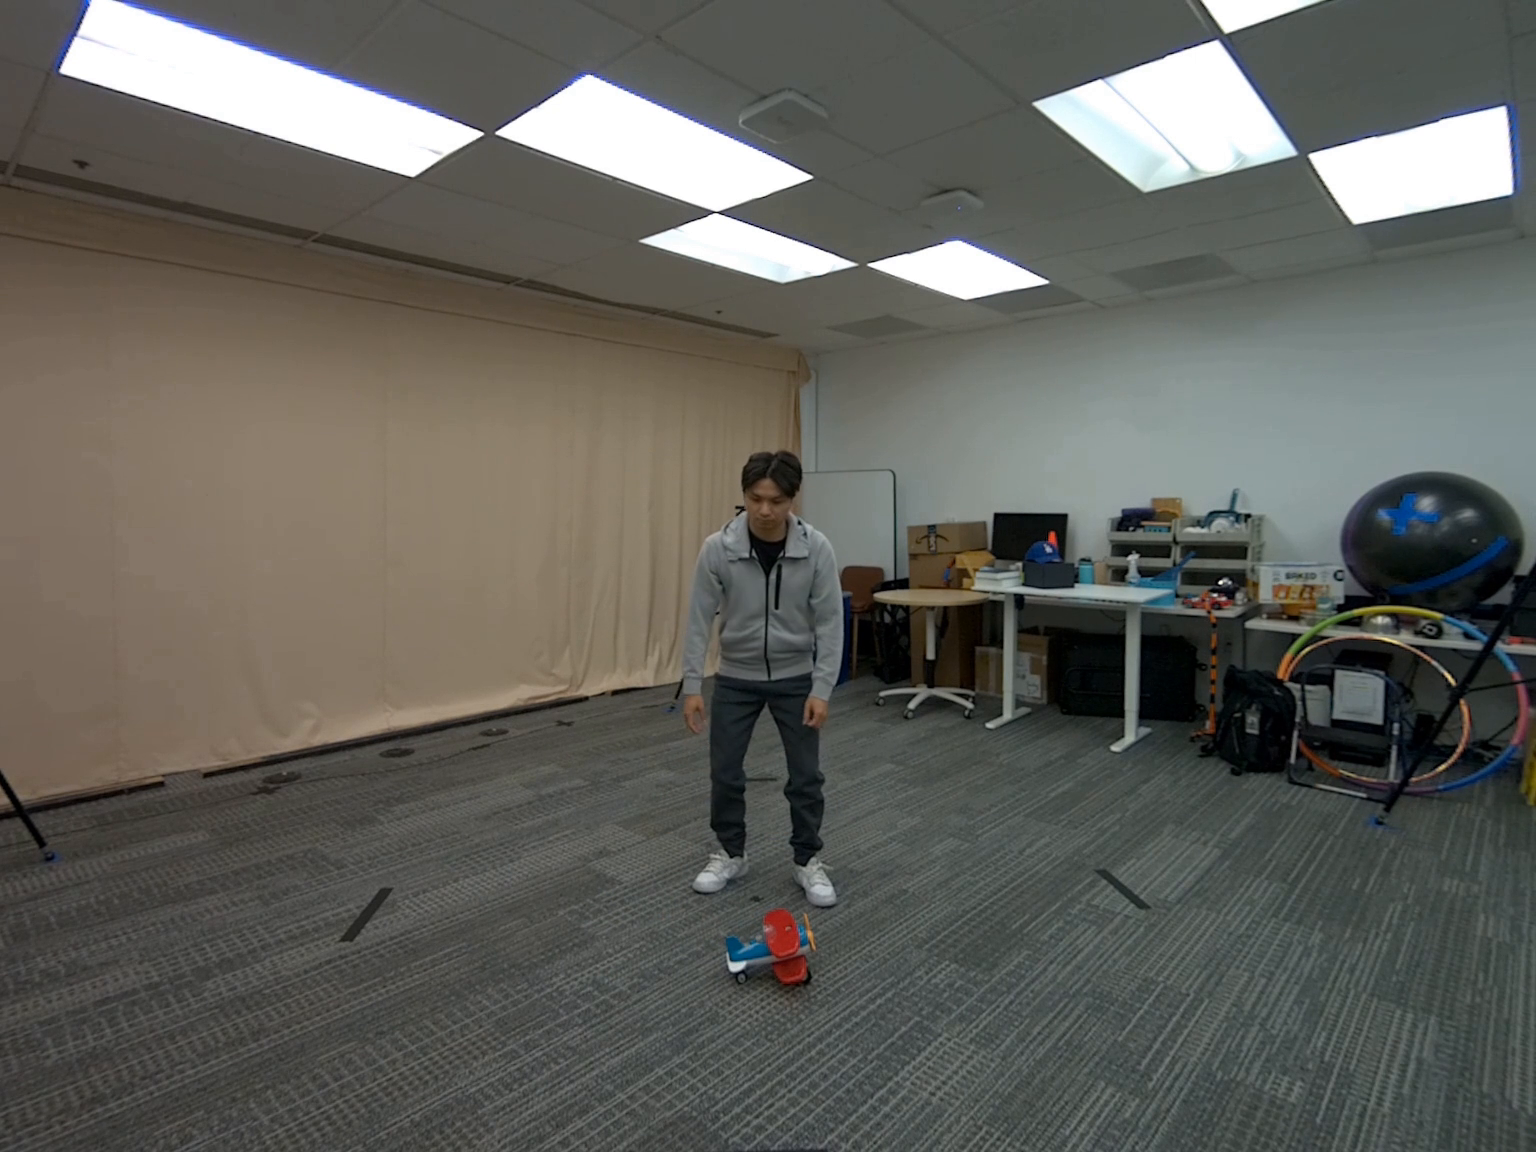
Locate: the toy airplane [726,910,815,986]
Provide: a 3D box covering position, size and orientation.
[{"bbox_3d":[0.020,1.119,2.460,0.252,0.156,0.259,-3,6,-33],"label":"toy airplane"}]
